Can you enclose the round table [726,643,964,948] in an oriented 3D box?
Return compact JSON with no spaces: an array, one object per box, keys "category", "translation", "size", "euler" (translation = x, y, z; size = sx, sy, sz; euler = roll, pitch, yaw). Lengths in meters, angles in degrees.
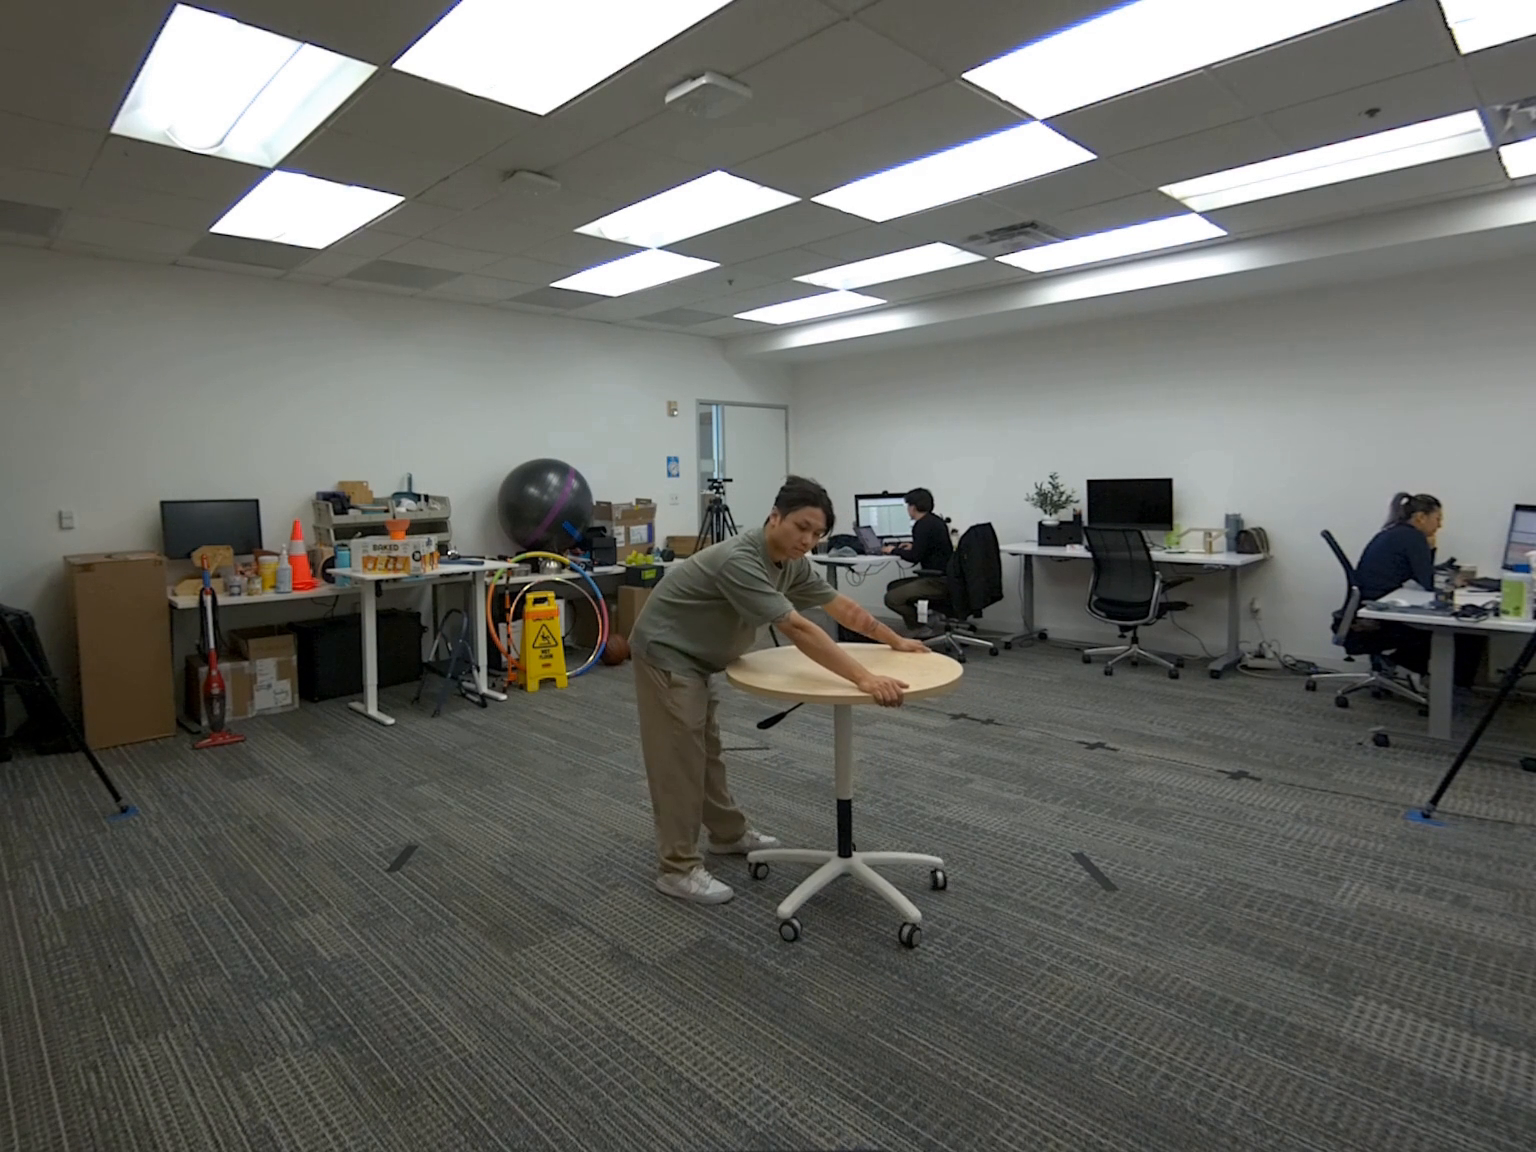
[{"category":"round table","translation":[0.262,0.677,2.838],"size":[0.784,0.783,0.789],"euler":[-1,5,-2]}]
